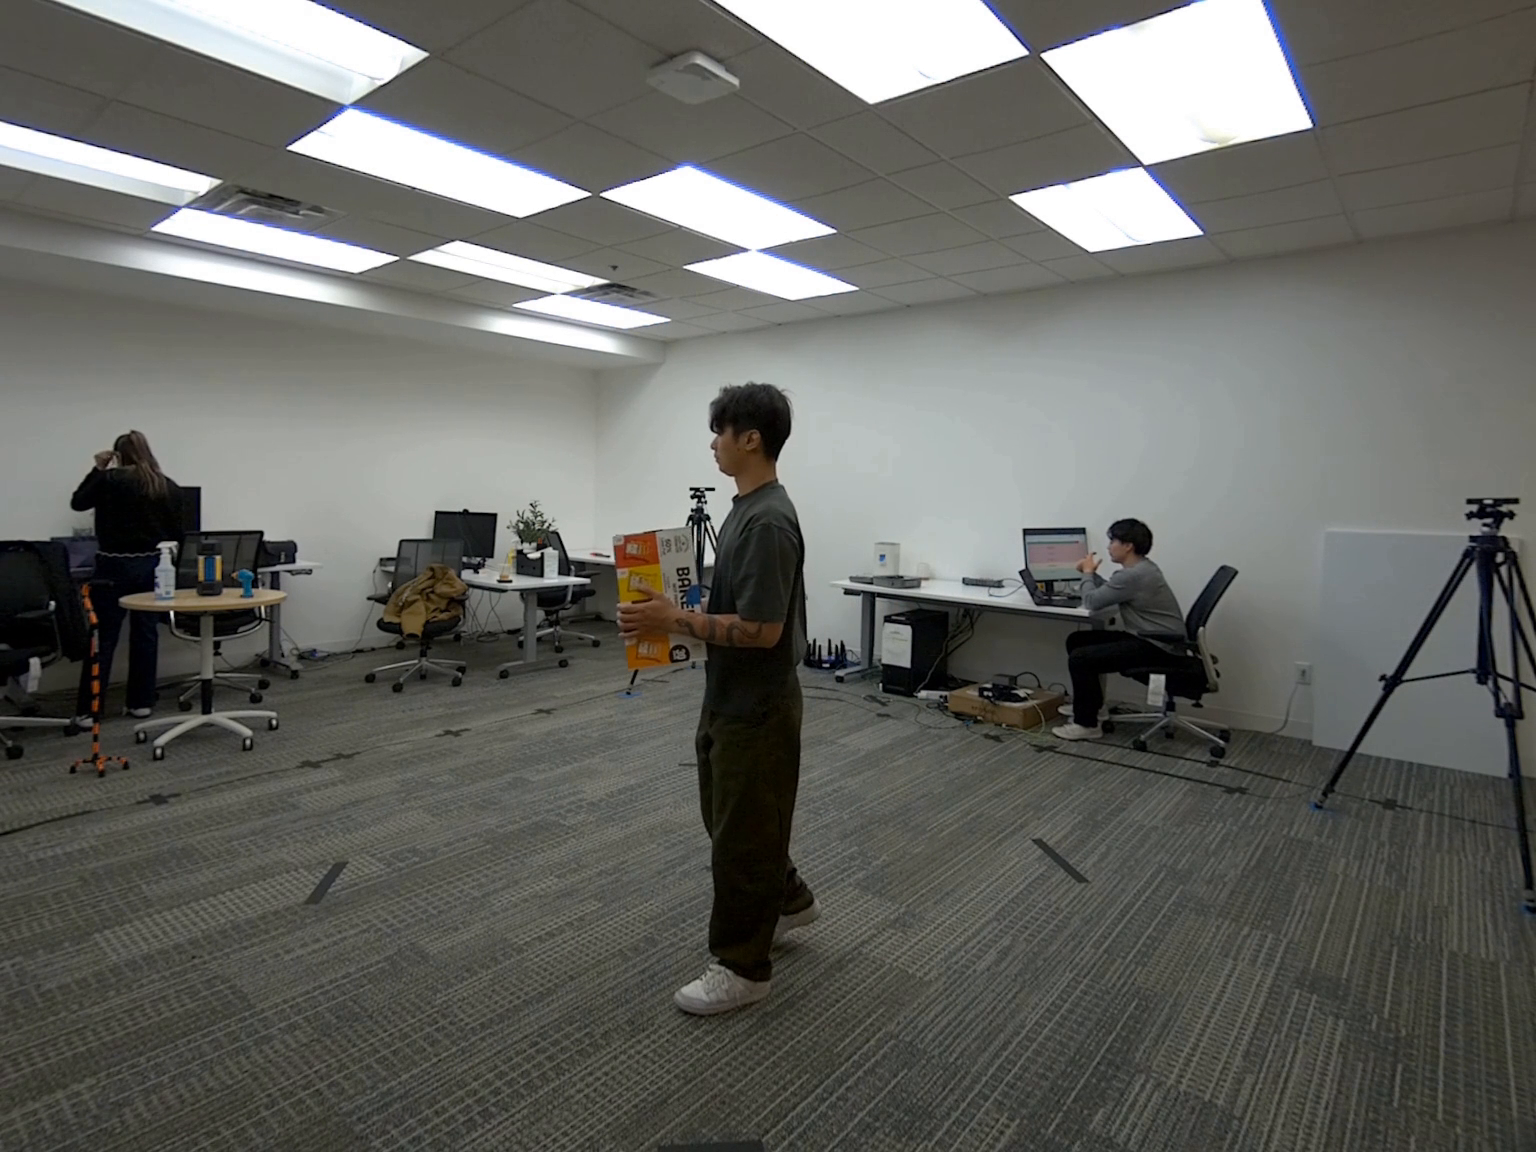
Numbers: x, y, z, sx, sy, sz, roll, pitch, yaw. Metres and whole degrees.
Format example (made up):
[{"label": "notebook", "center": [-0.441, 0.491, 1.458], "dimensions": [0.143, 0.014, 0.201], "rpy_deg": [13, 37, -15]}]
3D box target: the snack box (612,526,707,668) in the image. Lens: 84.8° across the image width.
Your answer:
[{"label": "snack box", "center": [-0.302, 0.052, 2.341], "dimensions": [0.205, 0.341, 0.406], "rpy_deg": [-6, -1, -6]}]
